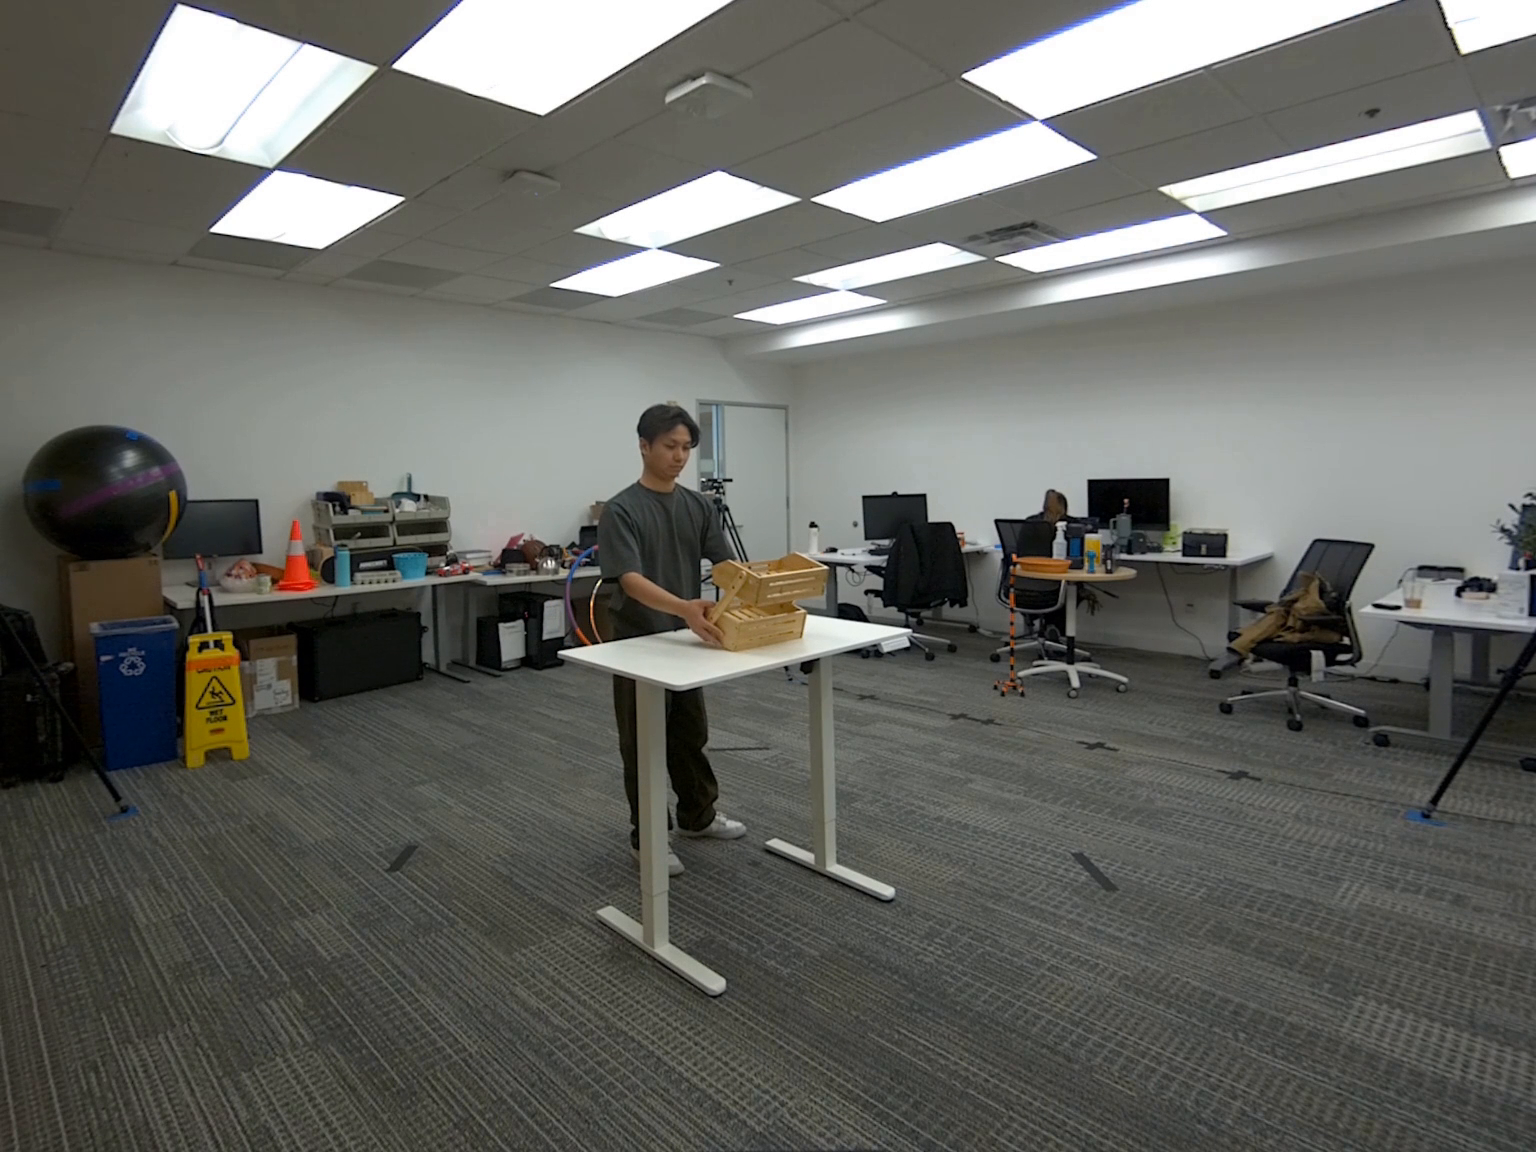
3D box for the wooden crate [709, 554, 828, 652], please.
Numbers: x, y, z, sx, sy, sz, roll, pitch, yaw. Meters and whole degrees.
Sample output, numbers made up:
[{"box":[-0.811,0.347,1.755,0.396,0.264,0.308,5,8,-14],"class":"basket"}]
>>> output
[{"box":[-0.032,0.056,2.684,0.316,0.270,0.313,-7,24,-43],"class":"wooden crate"}]
